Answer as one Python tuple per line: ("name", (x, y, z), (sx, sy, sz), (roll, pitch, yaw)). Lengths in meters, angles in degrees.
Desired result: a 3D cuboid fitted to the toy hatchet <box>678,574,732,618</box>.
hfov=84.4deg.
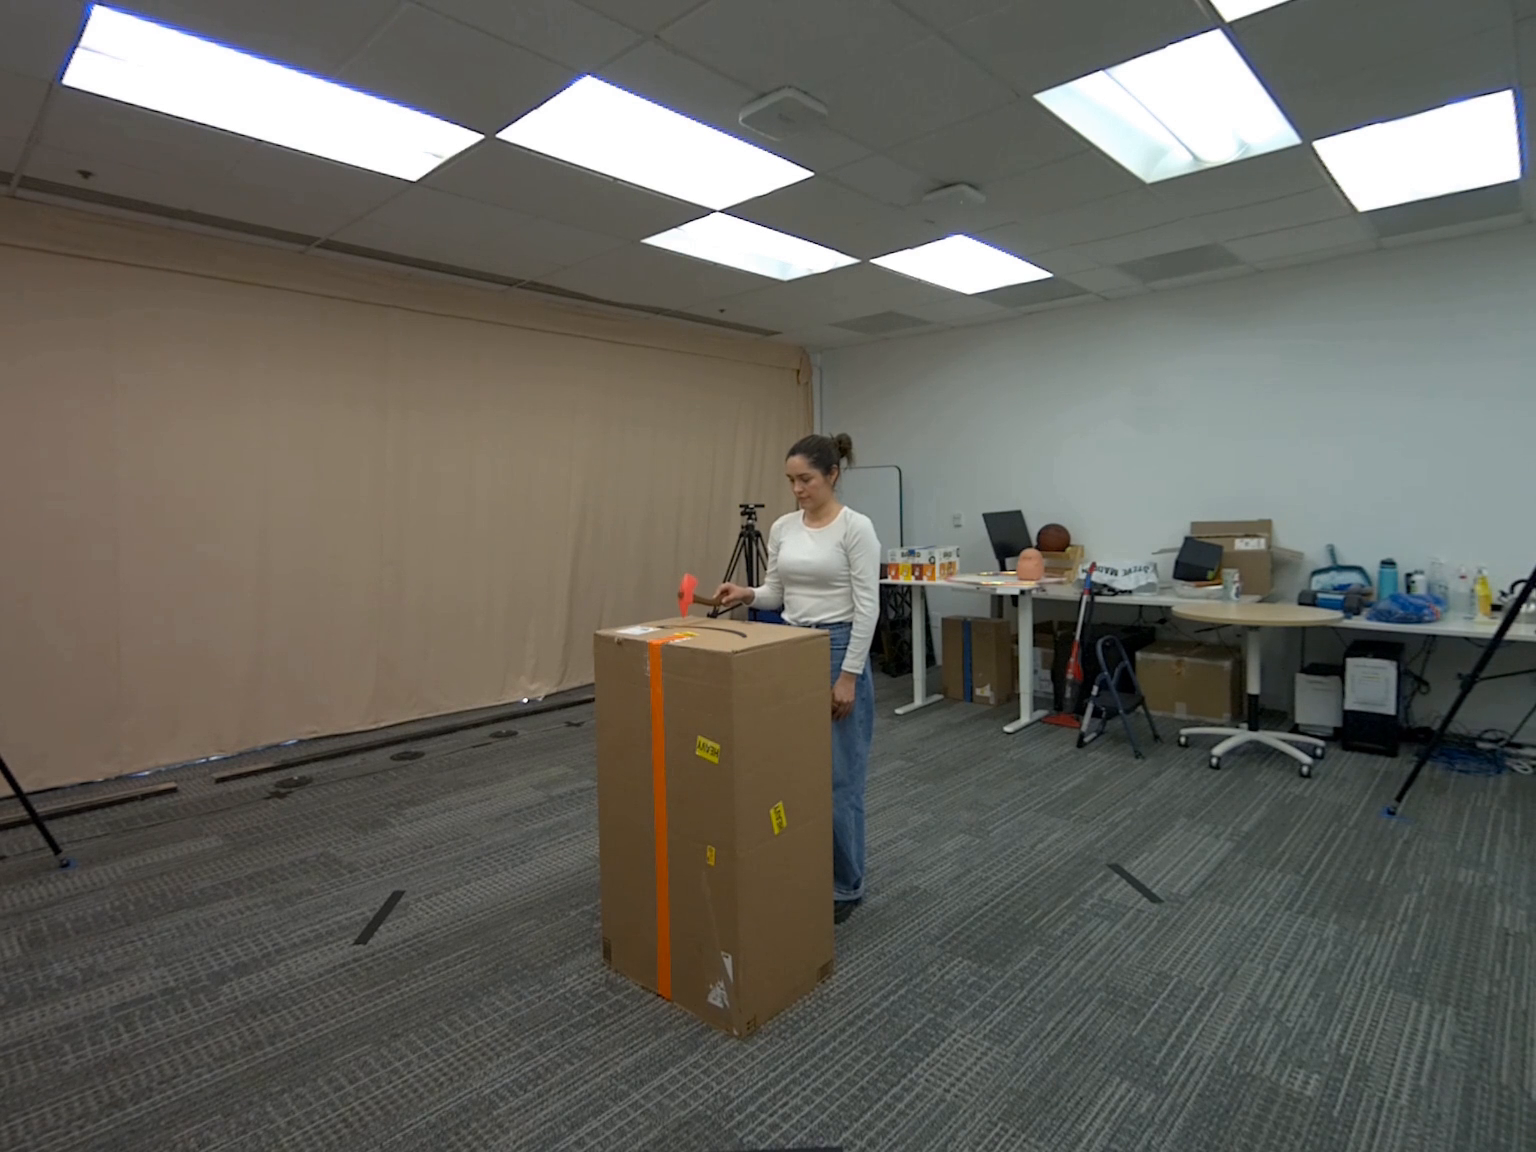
("toy hatchet", (-0.204, 0.051, 2.703), (0.030, 0.131, 0.263), (-7, 4, 33))
